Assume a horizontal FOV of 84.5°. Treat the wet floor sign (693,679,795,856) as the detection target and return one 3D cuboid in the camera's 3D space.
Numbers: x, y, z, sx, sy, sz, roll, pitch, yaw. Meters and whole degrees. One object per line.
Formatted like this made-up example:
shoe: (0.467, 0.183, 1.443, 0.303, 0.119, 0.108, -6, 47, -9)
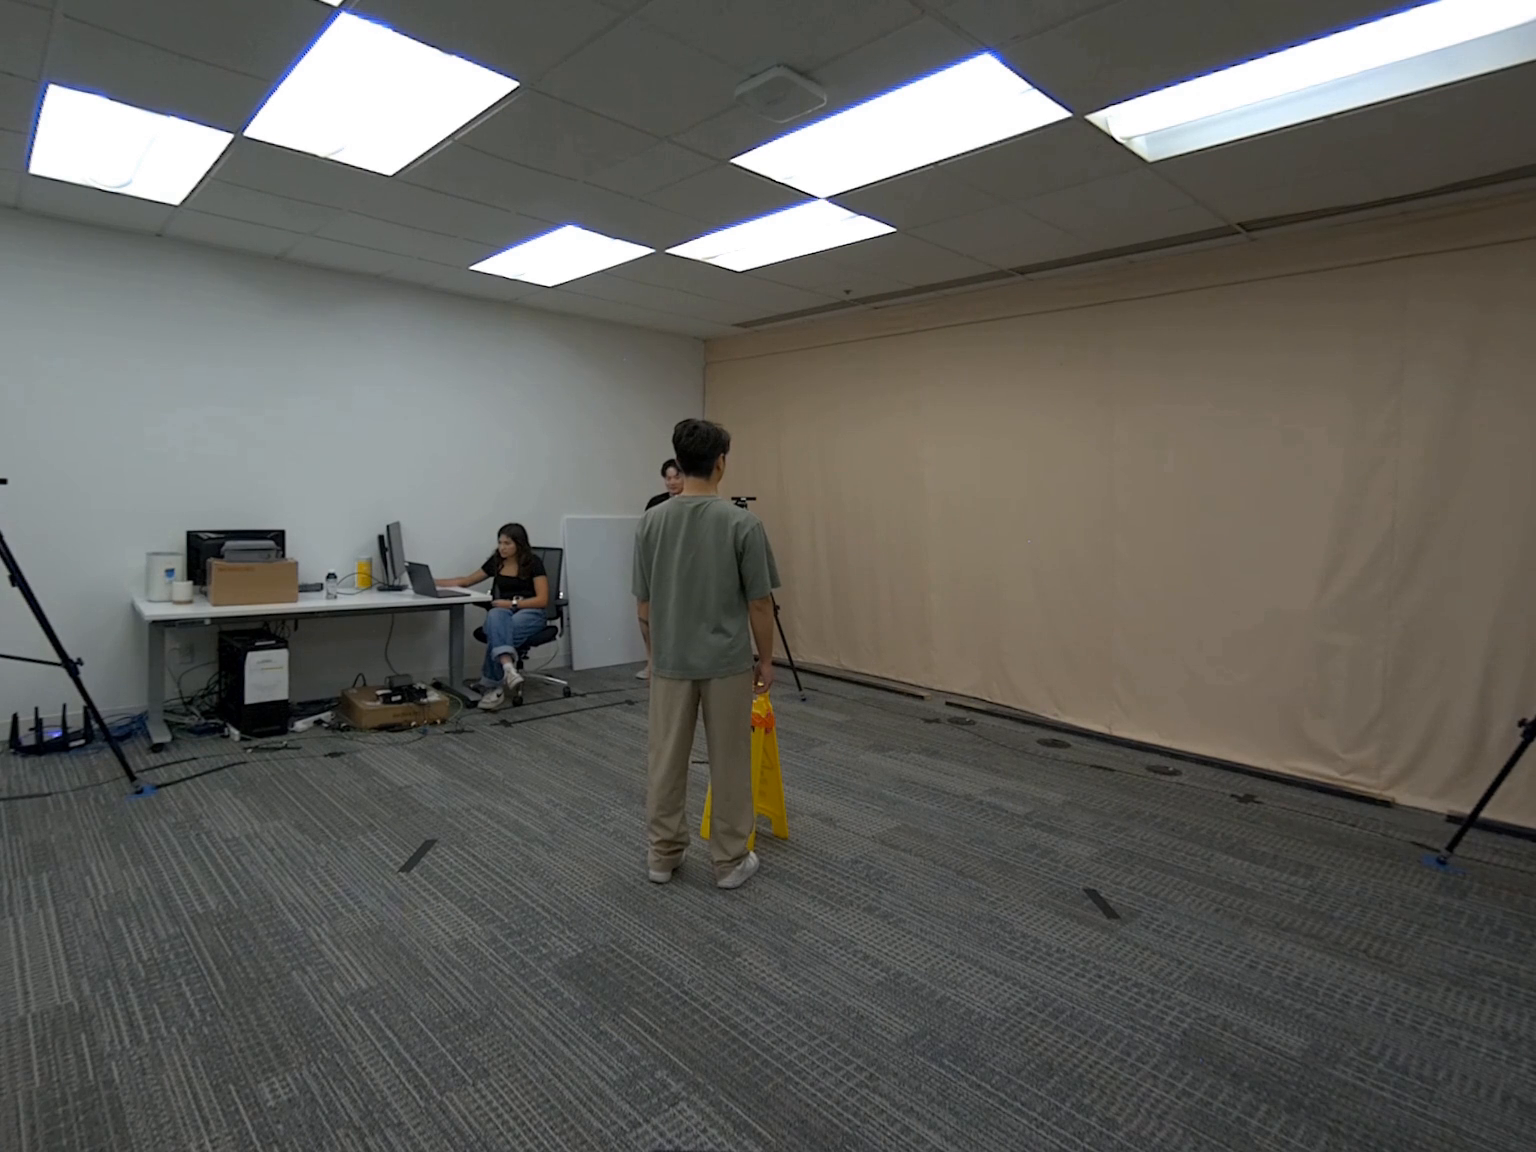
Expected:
wet floor sign: (-0.099, 0.756, 3.451, 0.289, 0.645, 0.283, 3, 3, 41)
